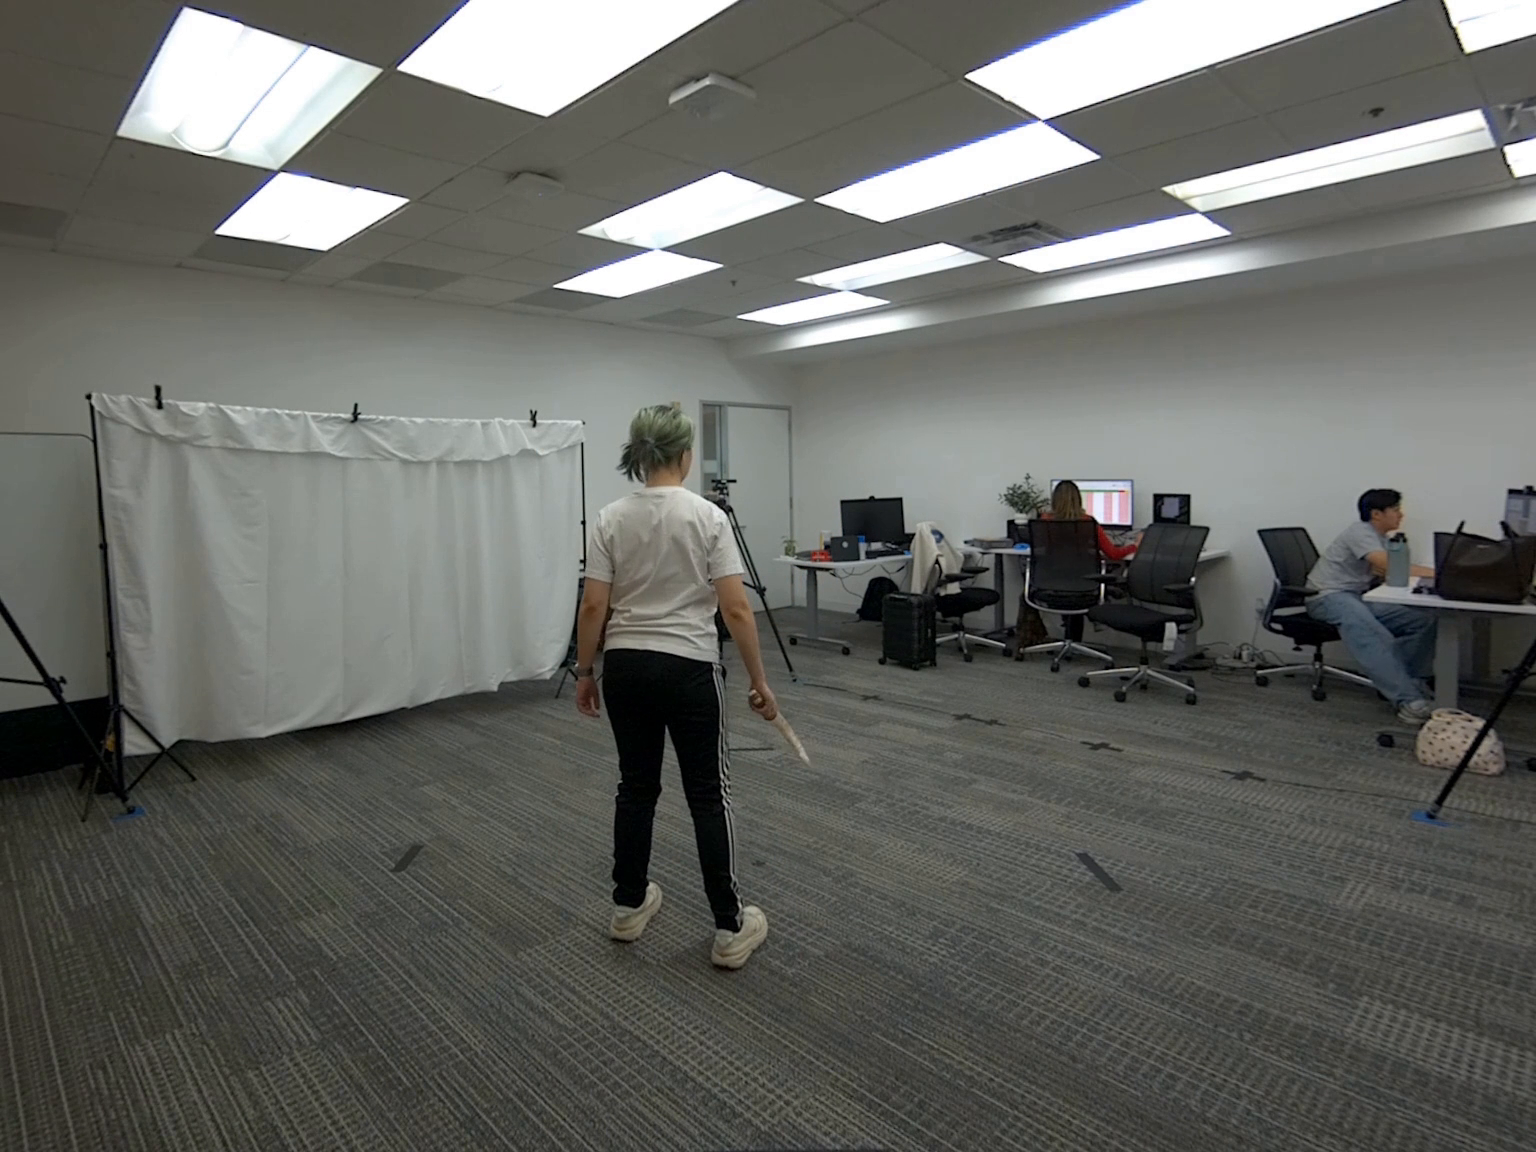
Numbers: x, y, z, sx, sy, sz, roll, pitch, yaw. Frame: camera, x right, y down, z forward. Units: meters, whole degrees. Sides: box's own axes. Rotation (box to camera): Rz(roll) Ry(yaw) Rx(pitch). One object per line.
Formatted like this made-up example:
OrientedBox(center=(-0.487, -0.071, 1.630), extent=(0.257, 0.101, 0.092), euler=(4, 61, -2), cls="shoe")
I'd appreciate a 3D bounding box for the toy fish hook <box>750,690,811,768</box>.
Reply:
OrientedBox(center=(0.042, 0.480, 2.747), extent=(0.048, 0.232, 0.490), euler=(-39, -28, -3), cls="toy fish hook")
